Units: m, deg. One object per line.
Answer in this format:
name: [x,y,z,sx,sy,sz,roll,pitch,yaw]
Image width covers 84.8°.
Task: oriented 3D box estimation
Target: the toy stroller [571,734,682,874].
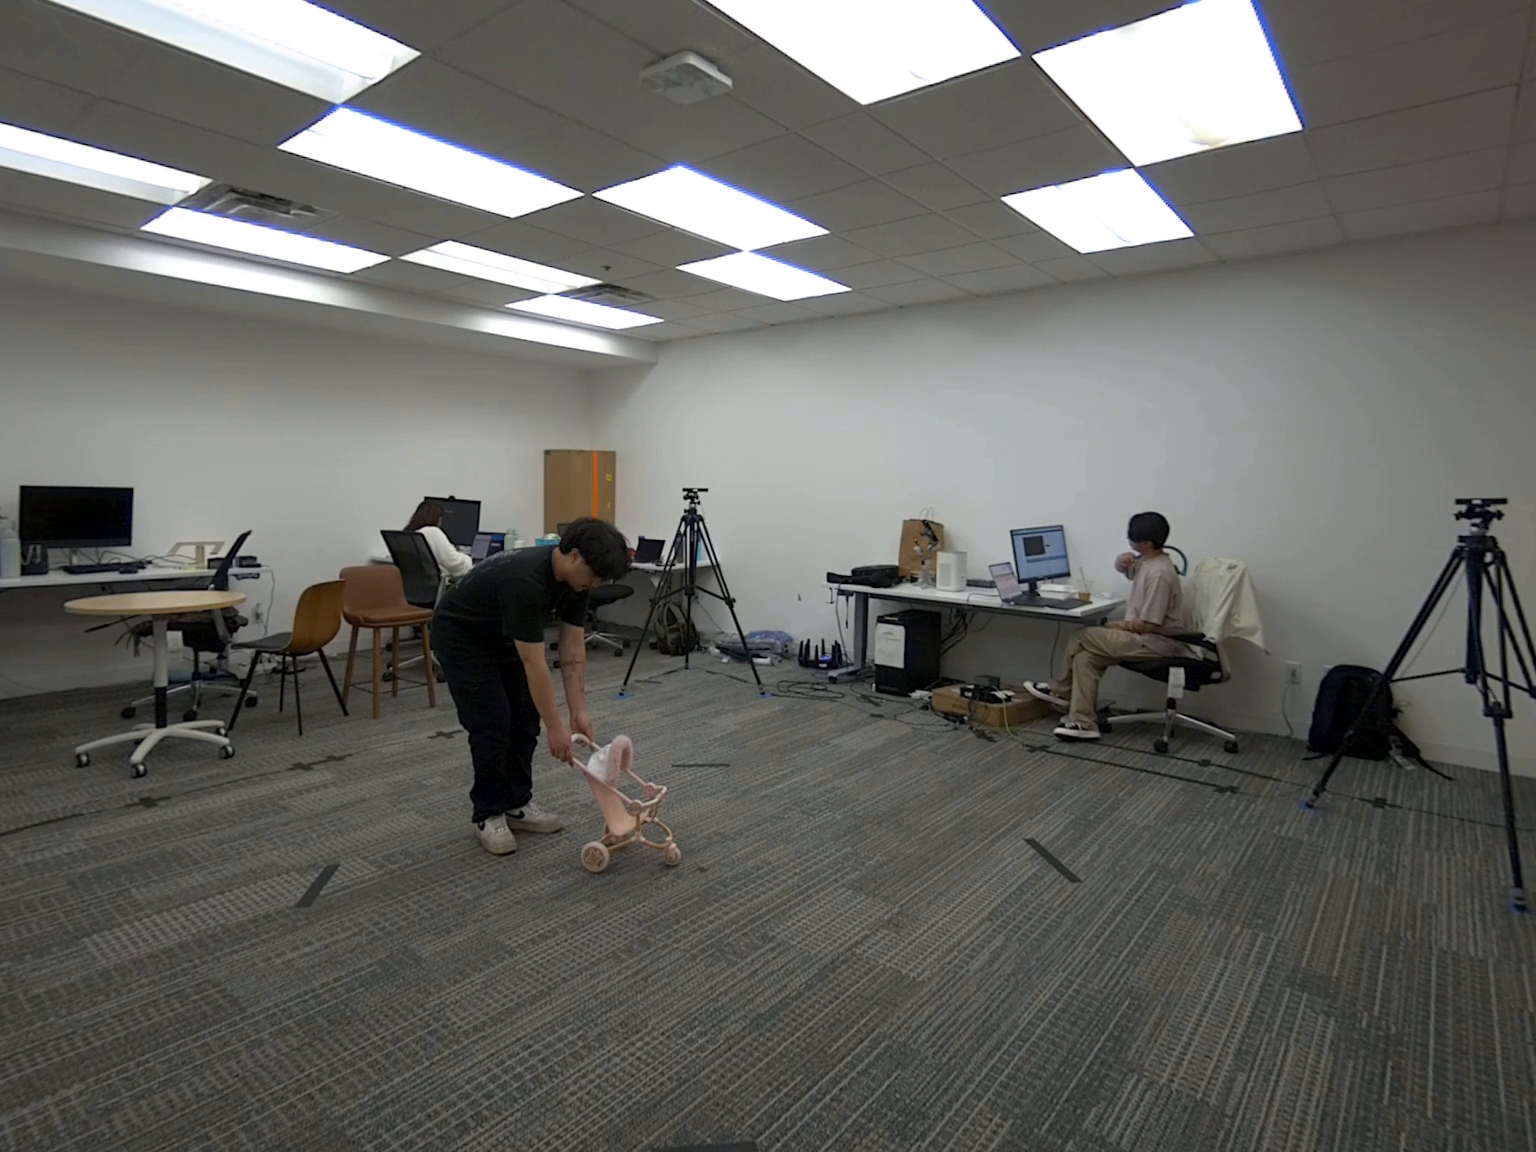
toy stroller: [-0.550,0.834,3.164,0.346,0.535,0.278,-14,0,15]
